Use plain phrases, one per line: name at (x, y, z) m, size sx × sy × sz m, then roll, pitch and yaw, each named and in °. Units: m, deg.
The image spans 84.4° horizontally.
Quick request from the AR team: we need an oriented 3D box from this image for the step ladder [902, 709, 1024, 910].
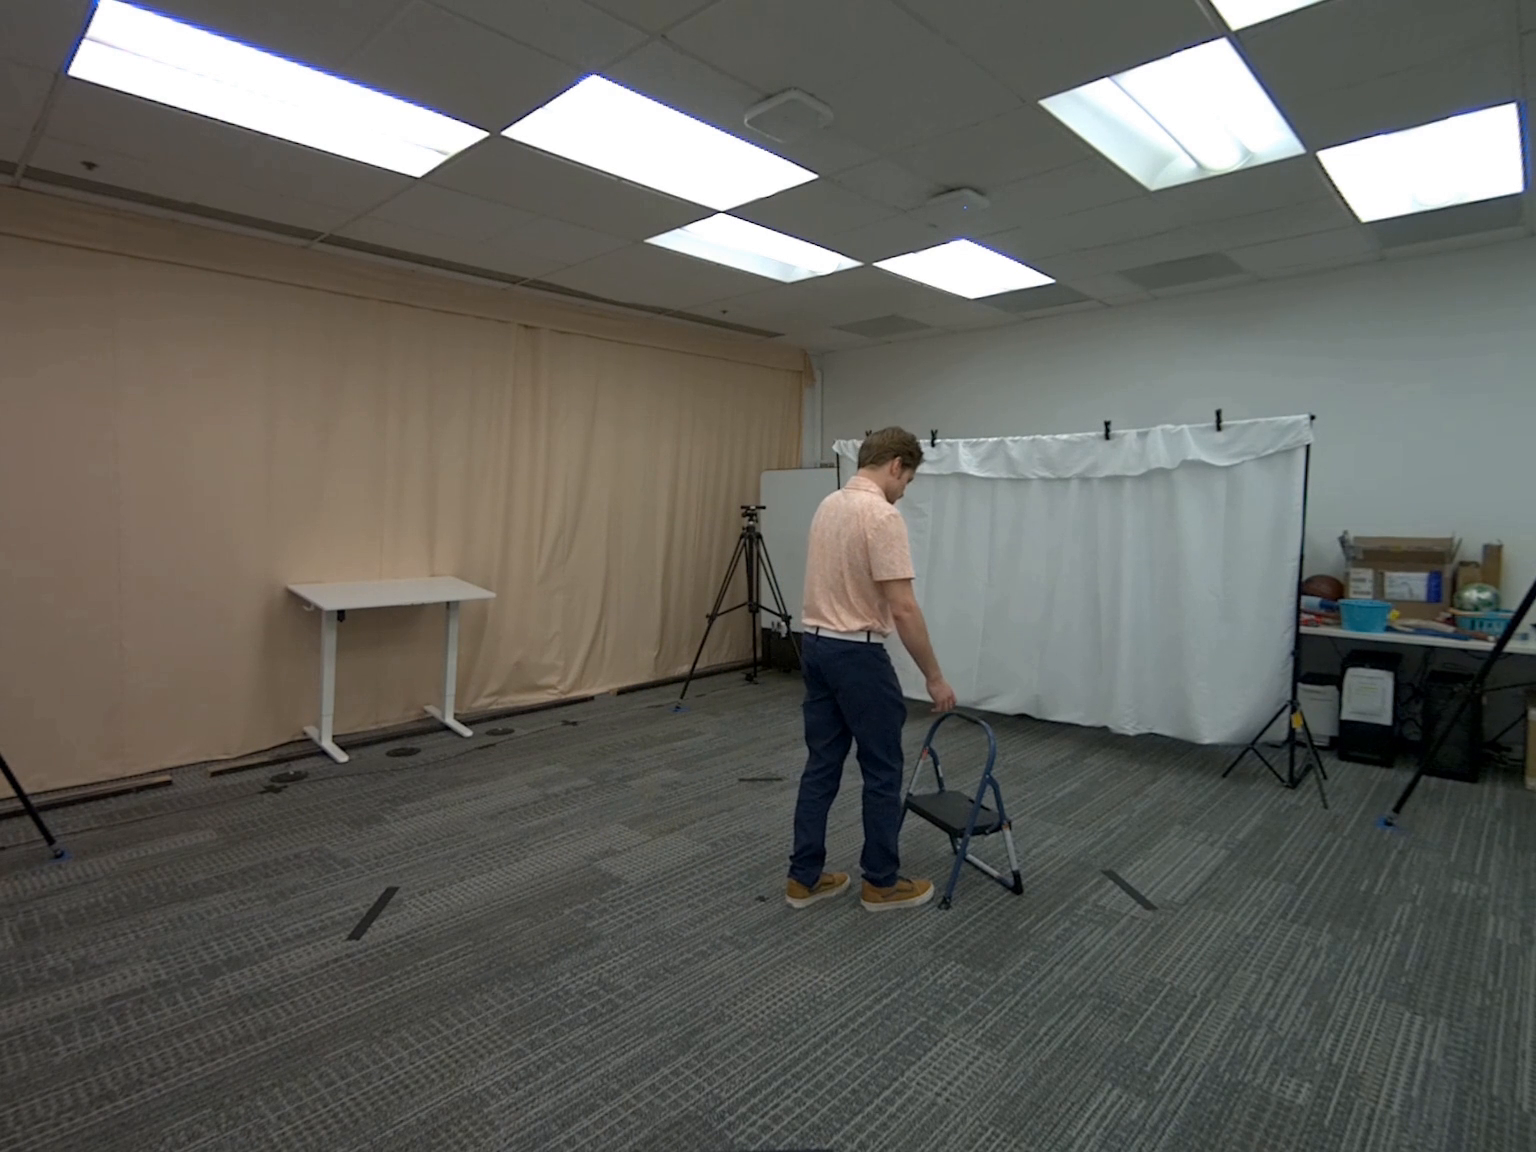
step ladder at (0.686, 0.826, 3.132) m, size 0.342 × 0.605 × 0.440 m, roll -1°, pitch 3°, yaw -21°
